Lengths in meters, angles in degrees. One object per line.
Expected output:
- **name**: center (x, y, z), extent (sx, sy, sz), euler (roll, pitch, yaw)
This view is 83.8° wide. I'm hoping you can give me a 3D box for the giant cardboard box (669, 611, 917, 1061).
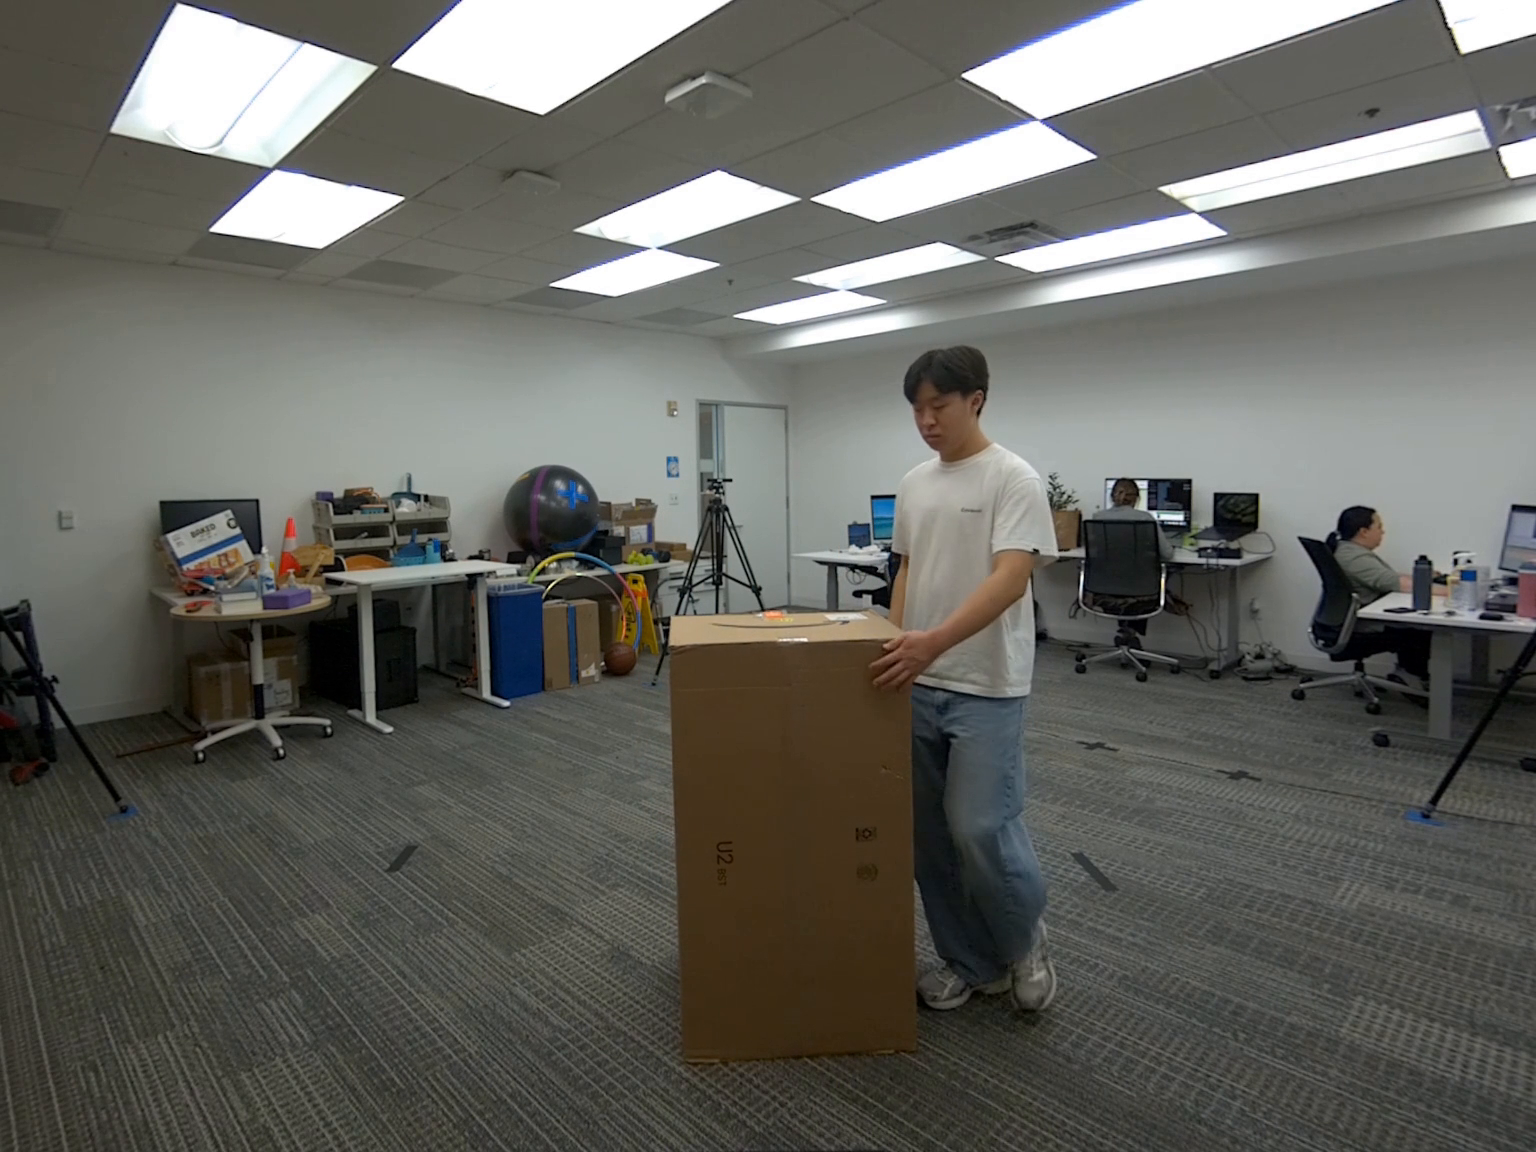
- **giant cardboard box**: center (0.052, 0.634, 2.240), extent (0.575, 1.022, 0.429), euler (-2, 4, -5)
